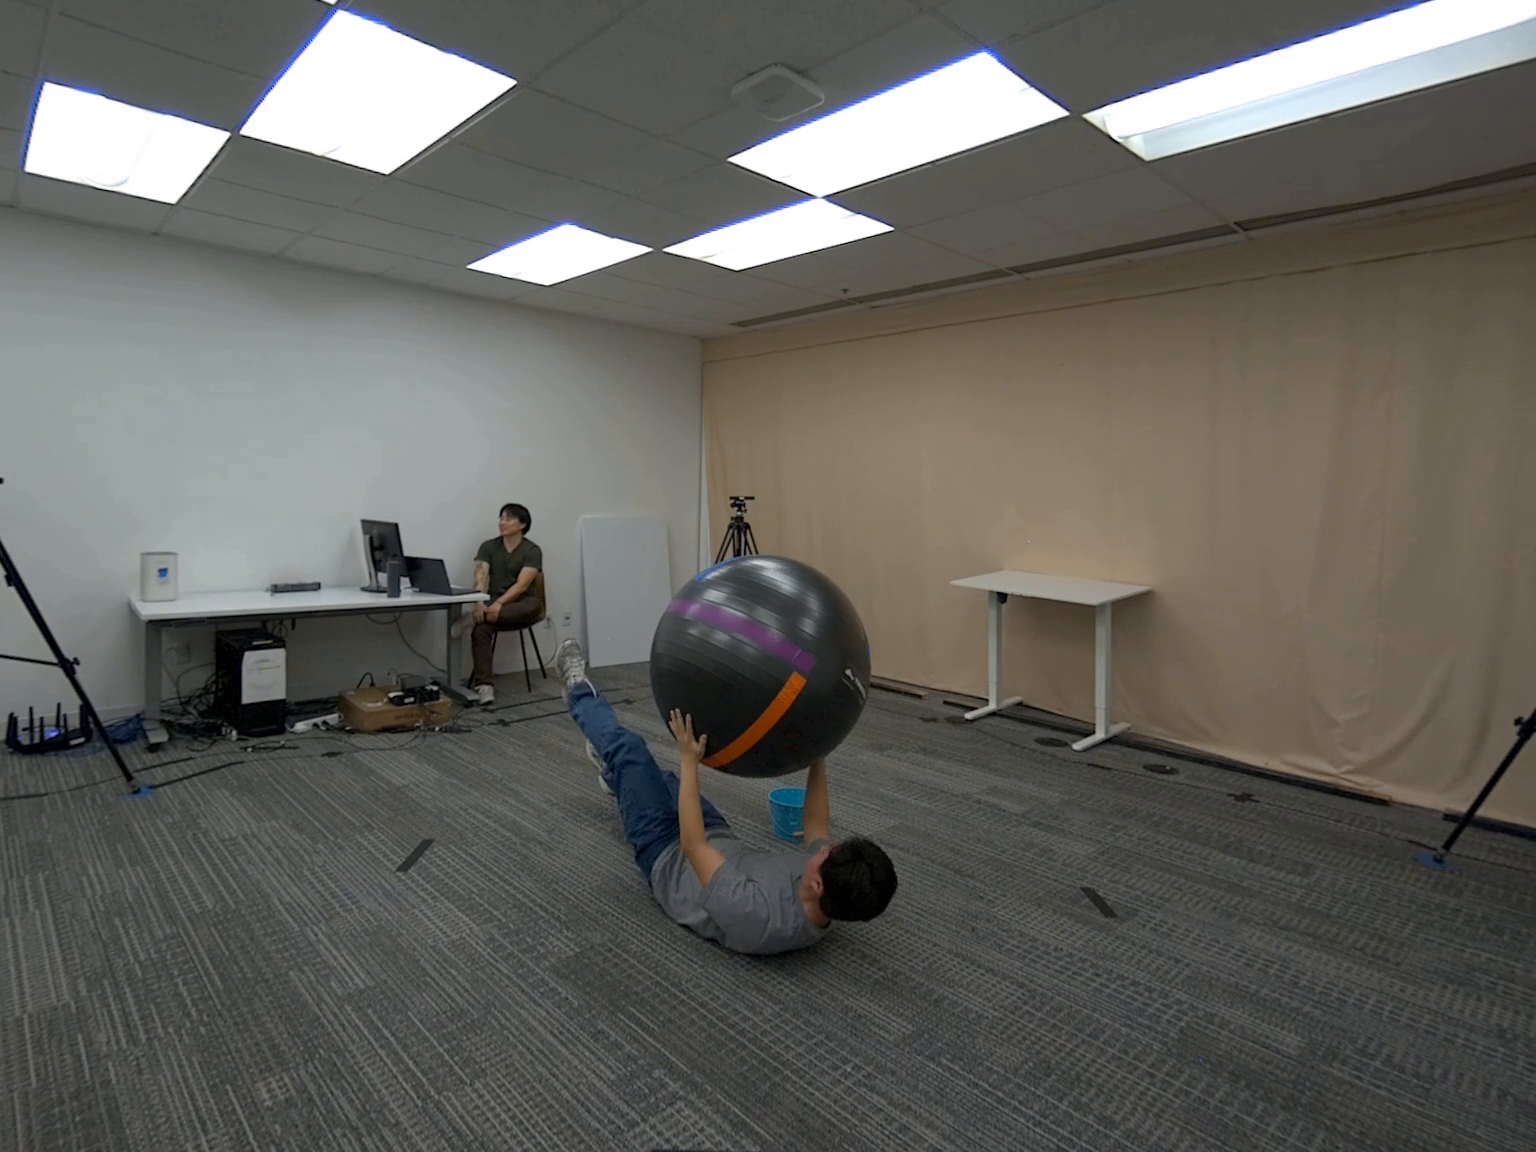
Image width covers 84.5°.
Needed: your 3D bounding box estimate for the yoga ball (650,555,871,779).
[{"bbox_3d":[-0.038,0.309,2.917,0.757,0.756,0.761,1,4,-1],"label":"yoga ball"}]
